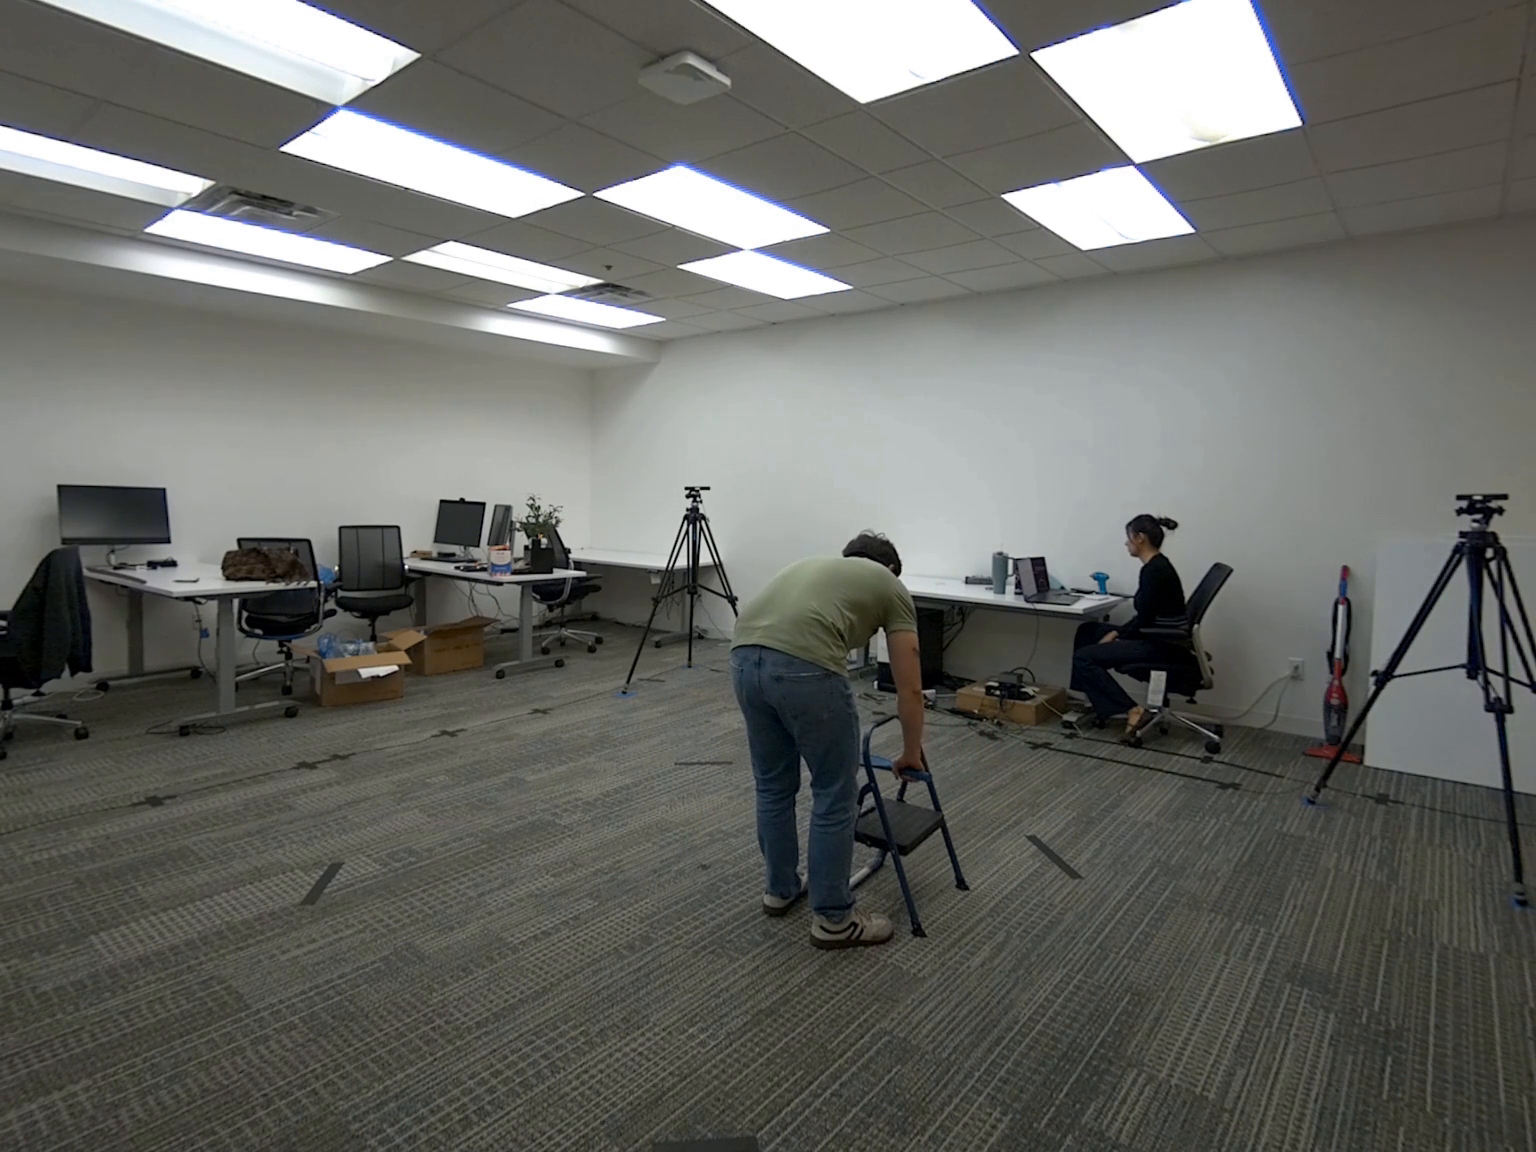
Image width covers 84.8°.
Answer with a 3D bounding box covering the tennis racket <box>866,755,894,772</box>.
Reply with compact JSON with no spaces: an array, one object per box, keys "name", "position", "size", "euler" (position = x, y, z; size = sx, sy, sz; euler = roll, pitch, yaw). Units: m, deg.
[{"name":"tennis racket","position":[0.395,0.650,2.892],"size":[0.206,0.032,0.446],"euler":[5,-3,-44]}]
